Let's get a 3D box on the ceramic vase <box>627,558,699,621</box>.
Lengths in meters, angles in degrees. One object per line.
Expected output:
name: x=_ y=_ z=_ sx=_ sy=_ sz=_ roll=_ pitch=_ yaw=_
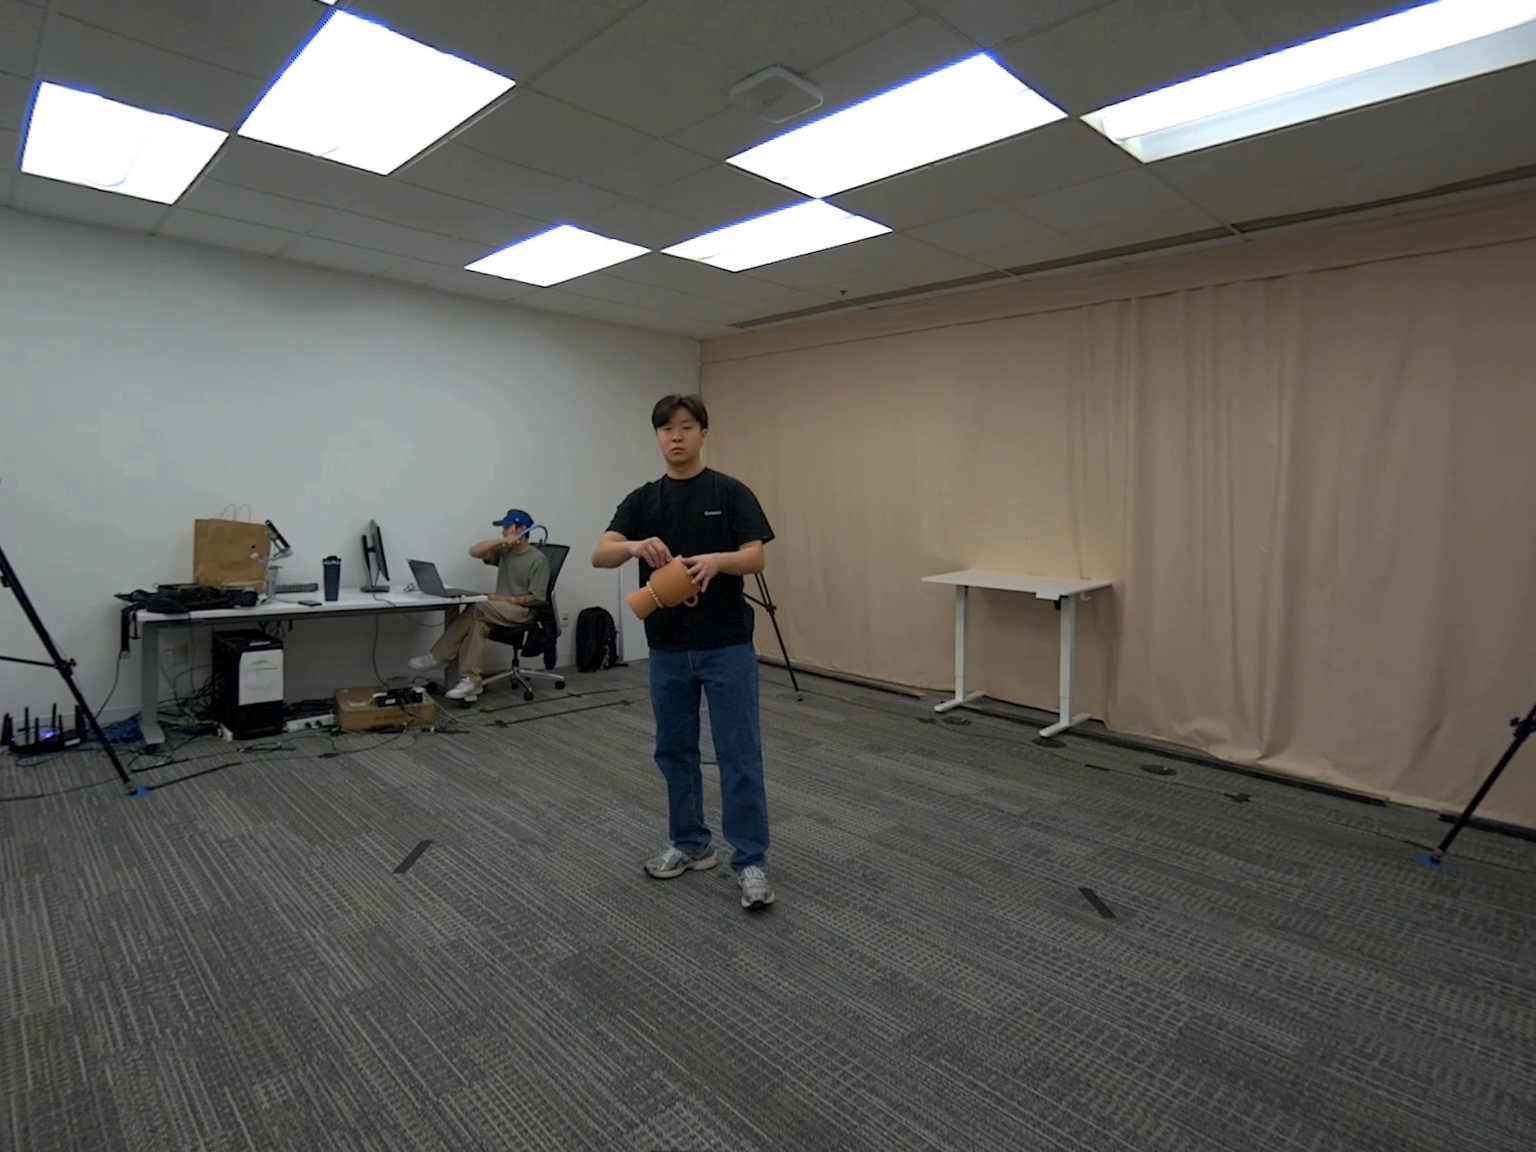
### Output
ceramic vase: x=-0.358 y=0.053 z=2.713 sx=0.220 sy=0.163 sz=0.131 roll=-32 pitch=-32 yaw=2
